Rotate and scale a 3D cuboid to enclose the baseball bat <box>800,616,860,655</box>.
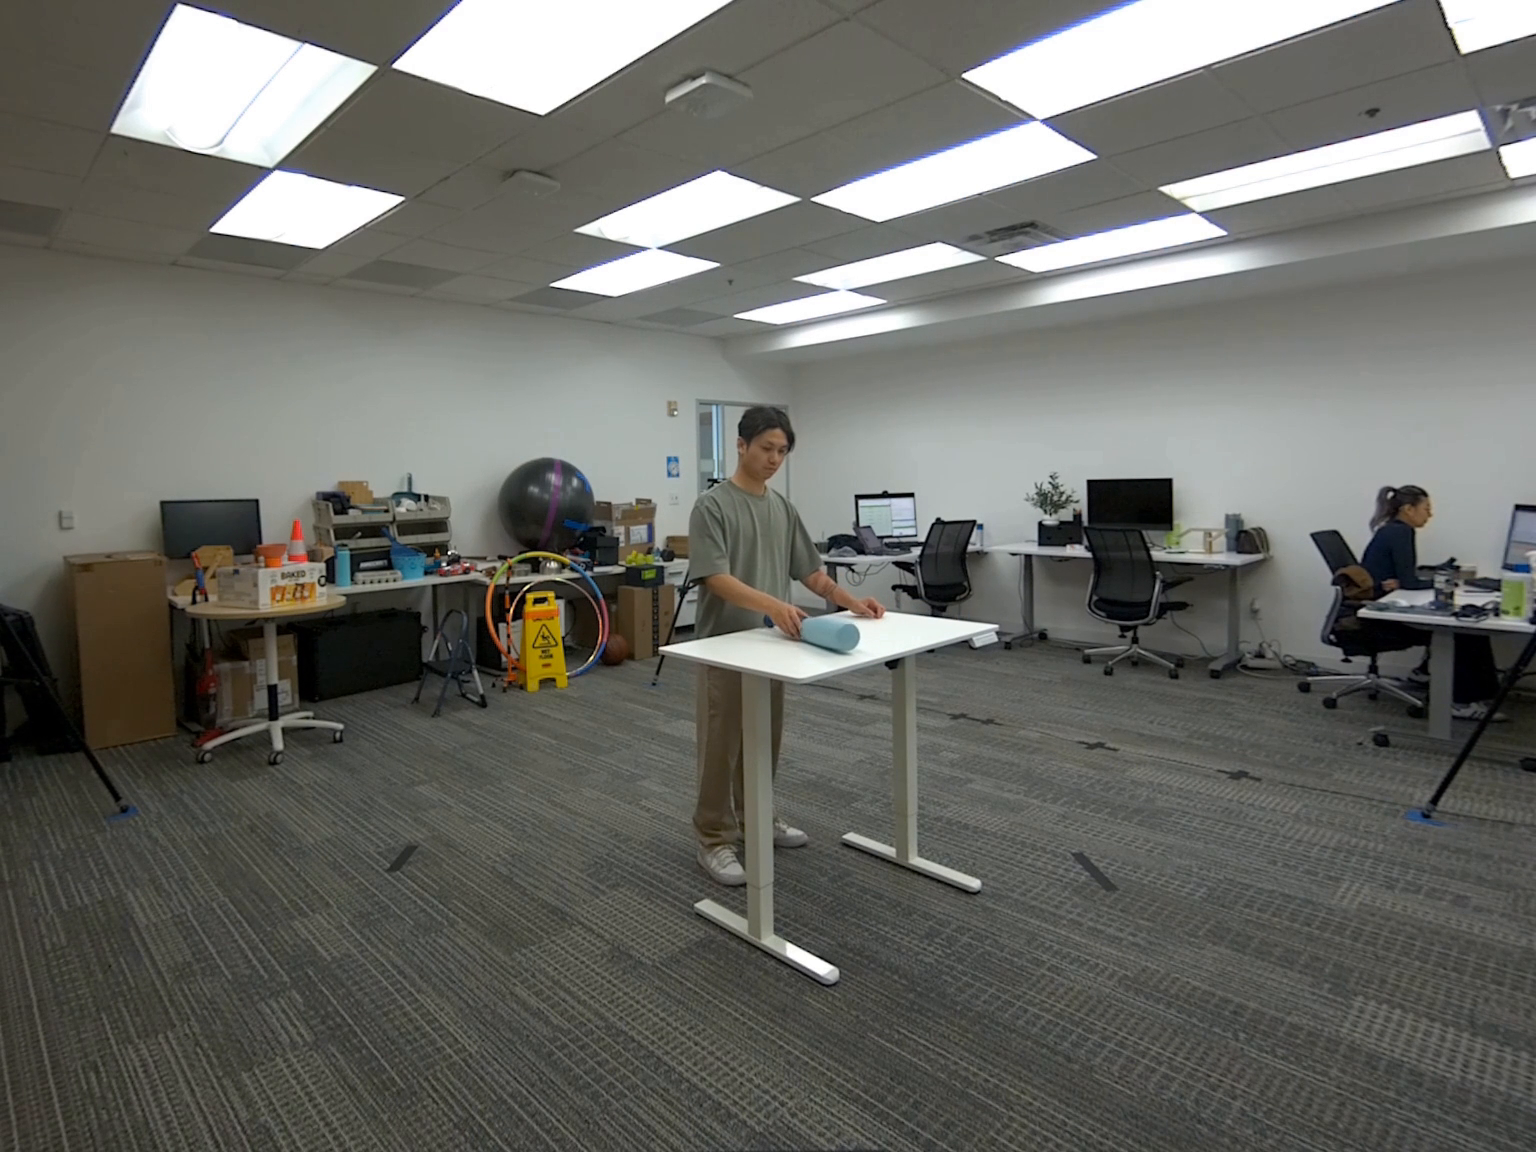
[{"bbox_3d":[0.134,0.173,2.722,0.087,0.089,0.554,-3,2,-23],"label":"baseball bat"}]
